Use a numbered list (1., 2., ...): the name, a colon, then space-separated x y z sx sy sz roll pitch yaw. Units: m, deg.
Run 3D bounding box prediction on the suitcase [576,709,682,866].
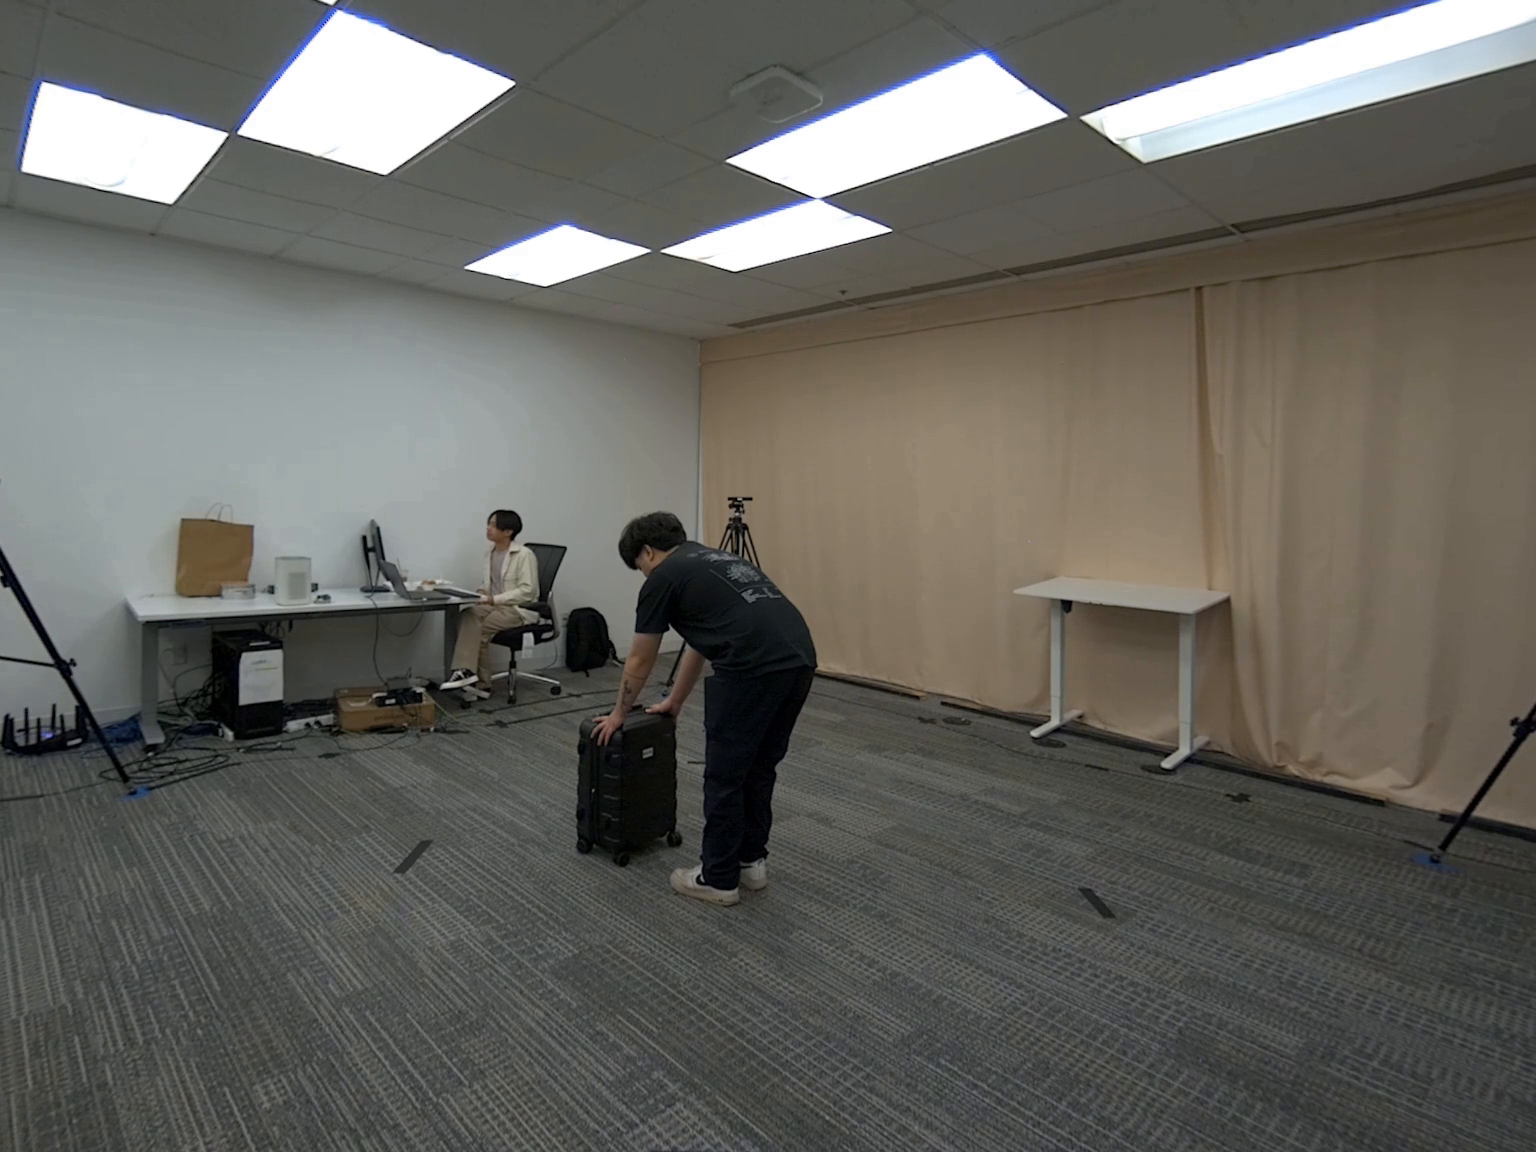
1. suitcase: -0.563 0.806 3.334 0.254 0.548 0.367 2 3 38
